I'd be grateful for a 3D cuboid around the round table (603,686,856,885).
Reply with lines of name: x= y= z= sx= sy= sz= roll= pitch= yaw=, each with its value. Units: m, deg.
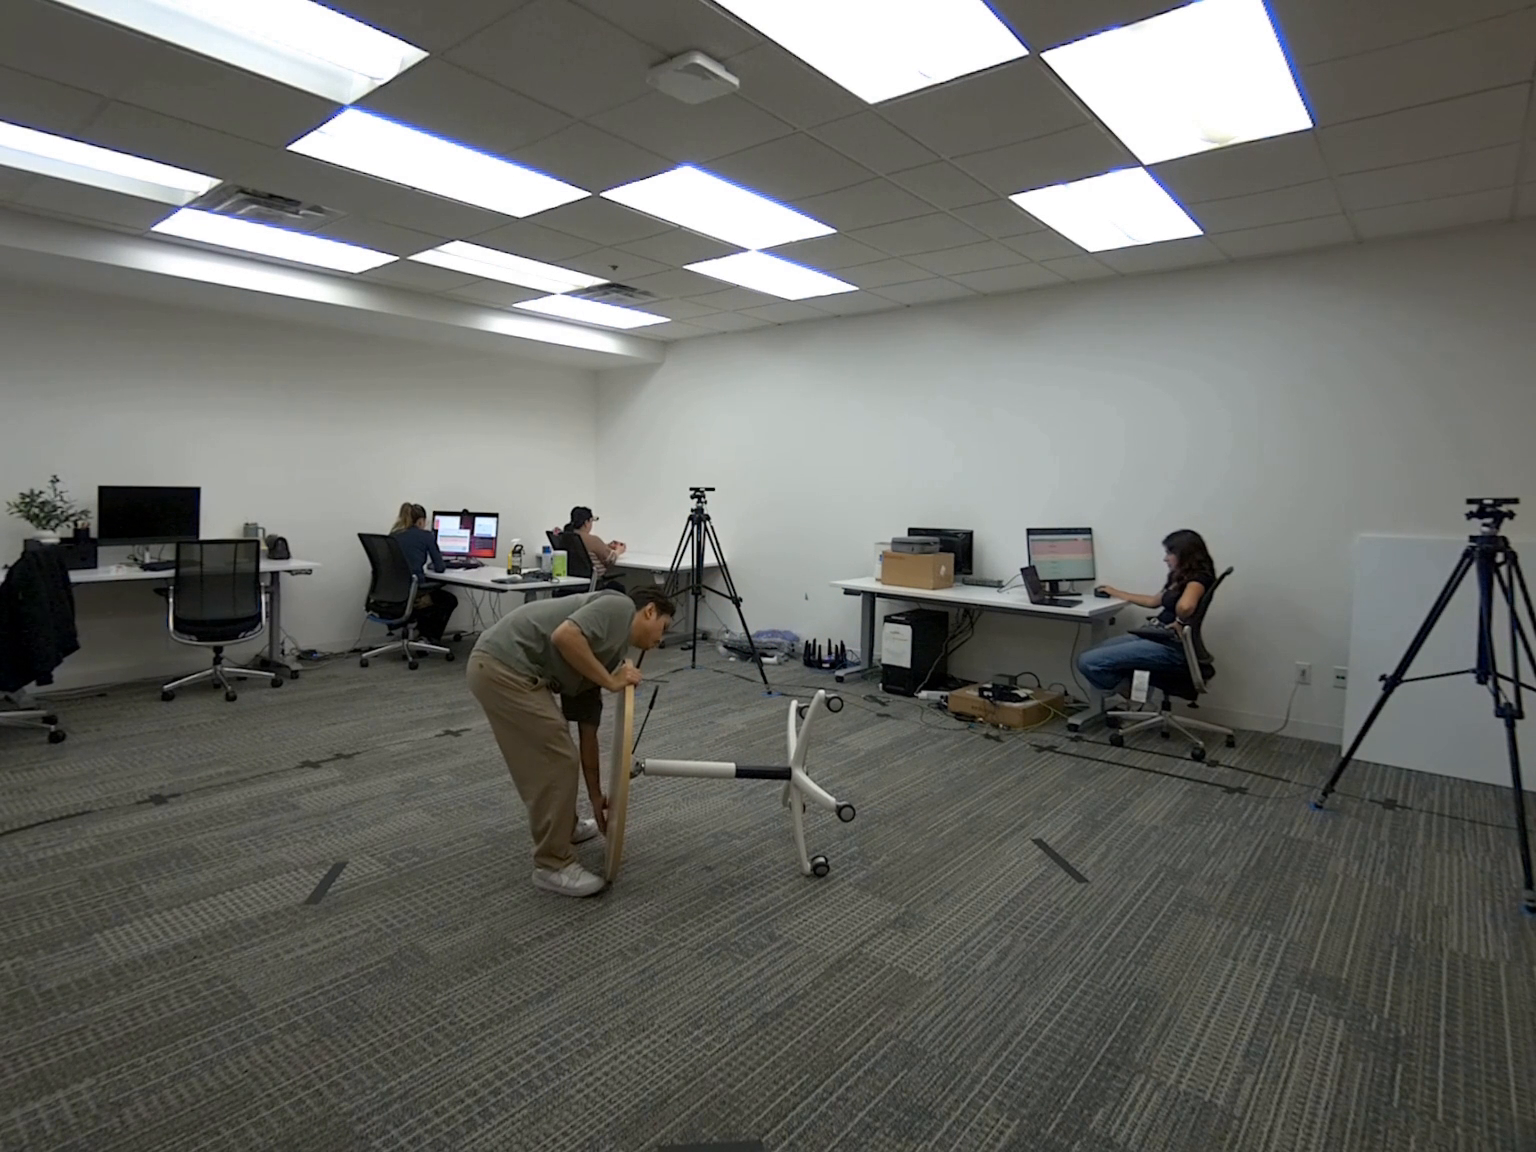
round table: x=-0.177 y=0.699 z=3.119 sx=0.777 sy=0.783 sz=0.797 roll=4 pitch=3 yaw=-11
